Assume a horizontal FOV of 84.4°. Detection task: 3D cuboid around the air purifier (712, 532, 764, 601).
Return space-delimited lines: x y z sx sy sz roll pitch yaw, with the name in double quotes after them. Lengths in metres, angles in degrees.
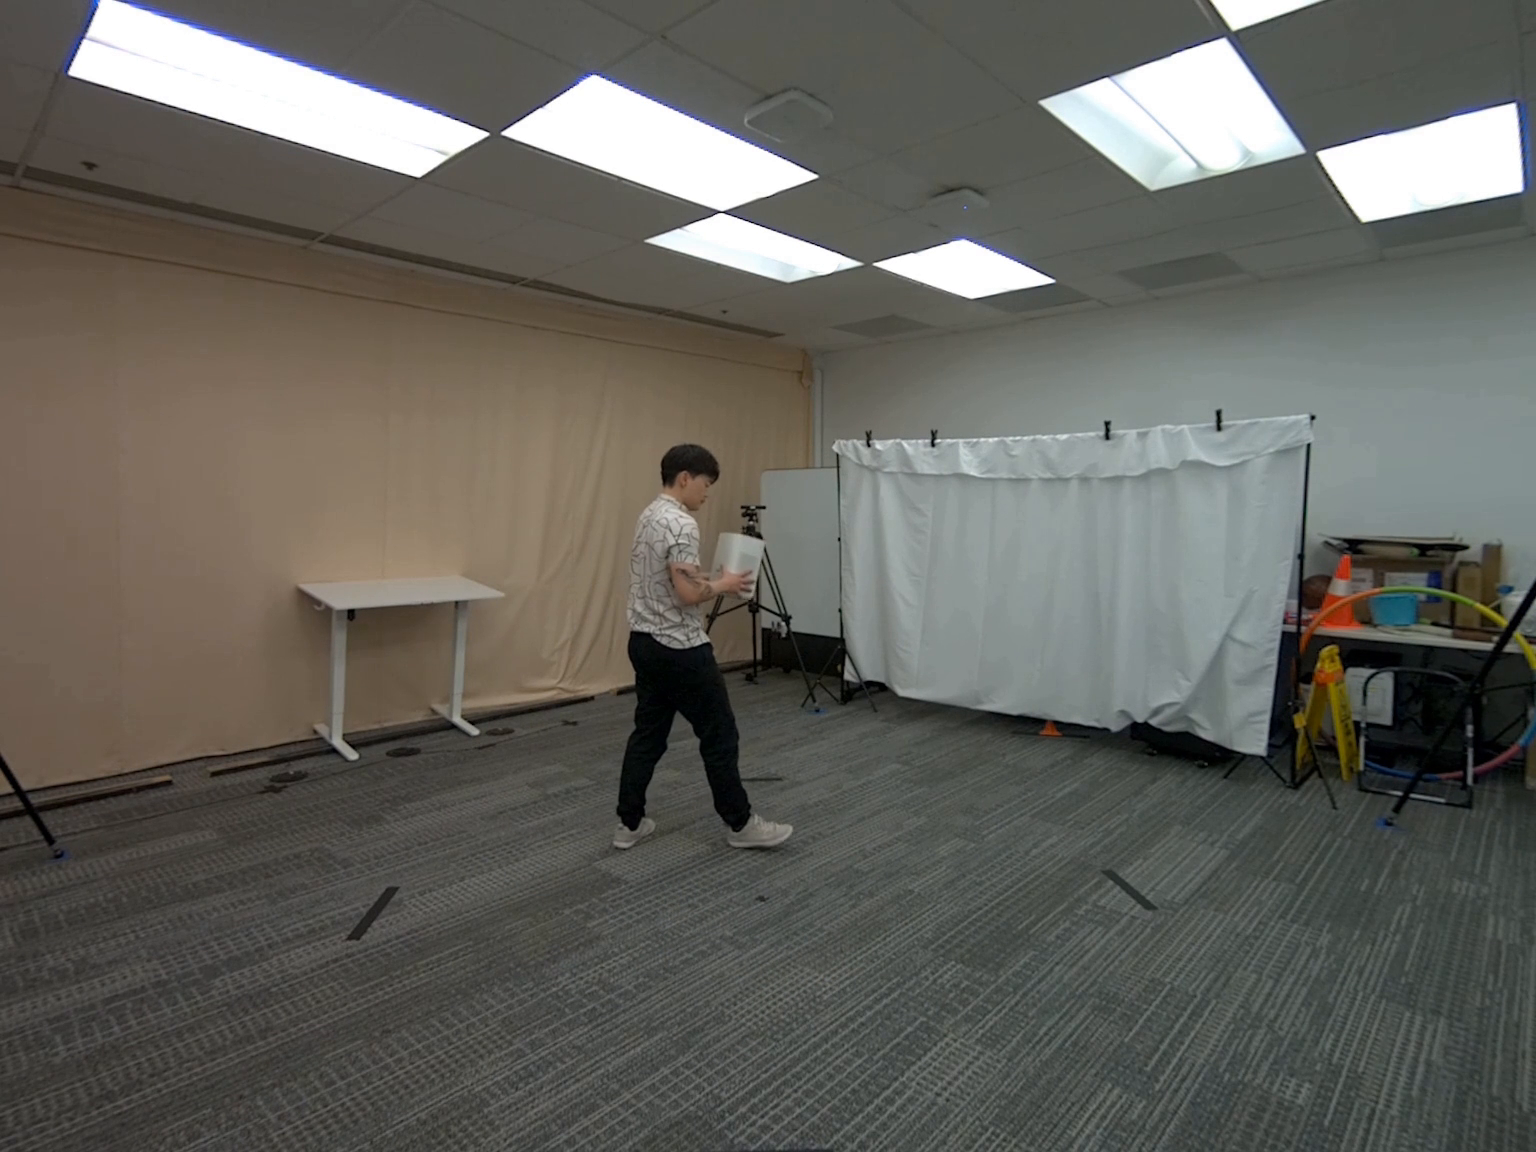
-0.126 -0.043 3.574 0.166 0.266 0.176 15 -6 -31 "air purifier"
